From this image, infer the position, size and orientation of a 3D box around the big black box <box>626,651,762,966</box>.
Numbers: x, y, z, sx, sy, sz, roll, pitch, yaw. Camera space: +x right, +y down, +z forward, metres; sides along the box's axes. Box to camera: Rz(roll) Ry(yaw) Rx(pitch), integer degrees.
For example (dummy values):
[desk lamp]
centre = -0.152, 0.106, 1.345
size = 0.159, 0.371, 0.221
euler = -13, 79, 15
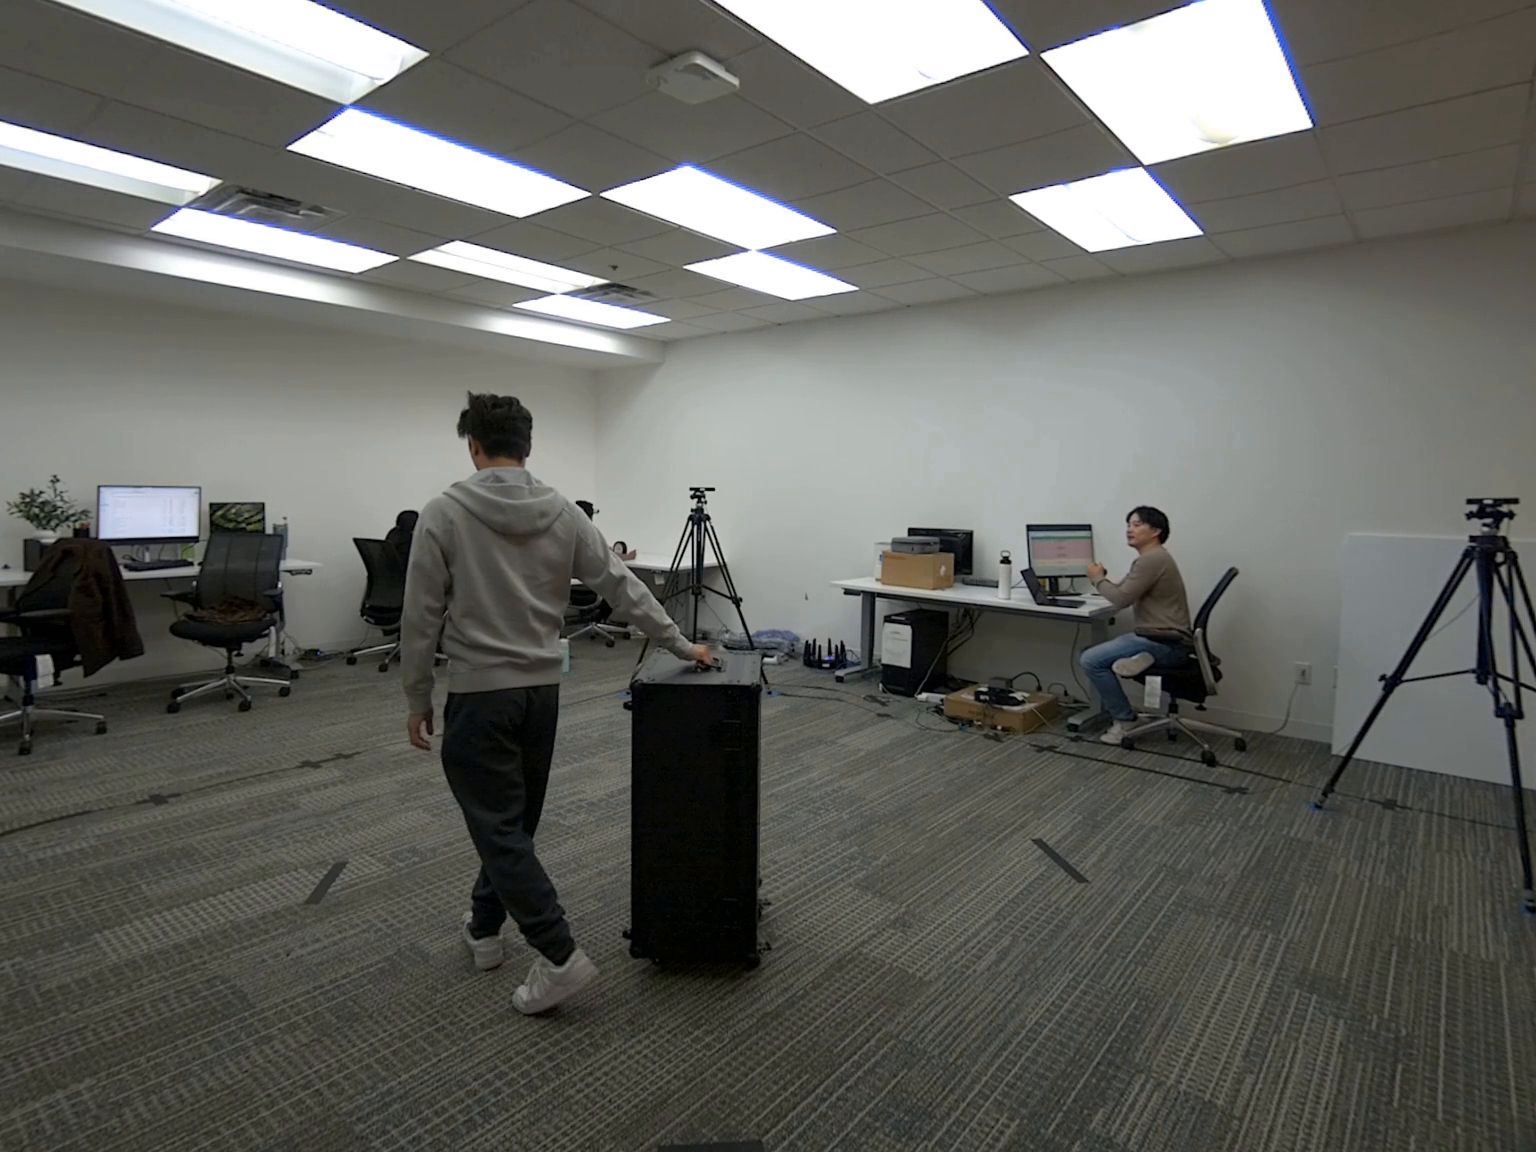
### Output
[big black box]
centre = -0.223, 0.696, 2.585
size = 0.398, 0.859, 0.521
euler = 0, 4, 2
